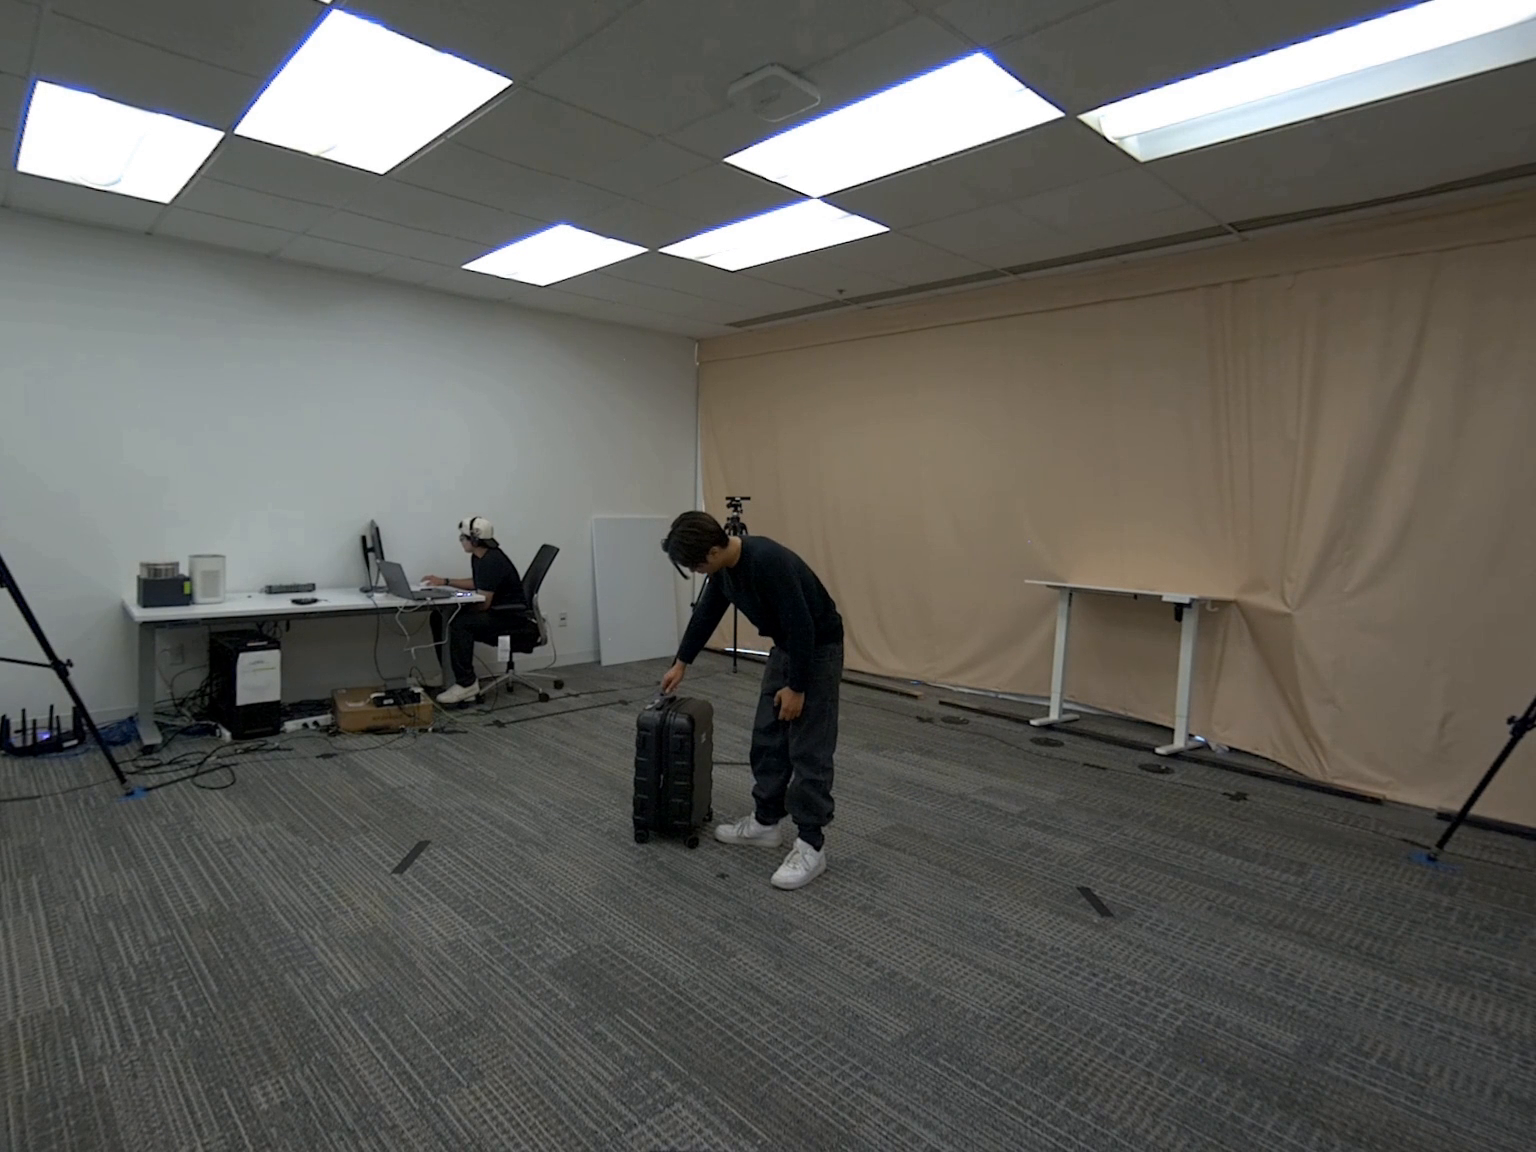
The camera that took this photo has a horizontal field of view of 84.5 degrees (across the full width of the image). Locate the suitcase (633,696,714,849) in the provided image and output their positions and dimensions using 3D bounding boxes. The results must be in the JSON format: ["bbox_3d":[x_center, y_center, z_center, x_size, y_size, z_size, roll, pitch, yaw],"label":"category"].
[{"bbox_3d":[-0.388,0.783,3.498,0.251,0.548,0.371,3,2,13],"label":"suitcase"}]
